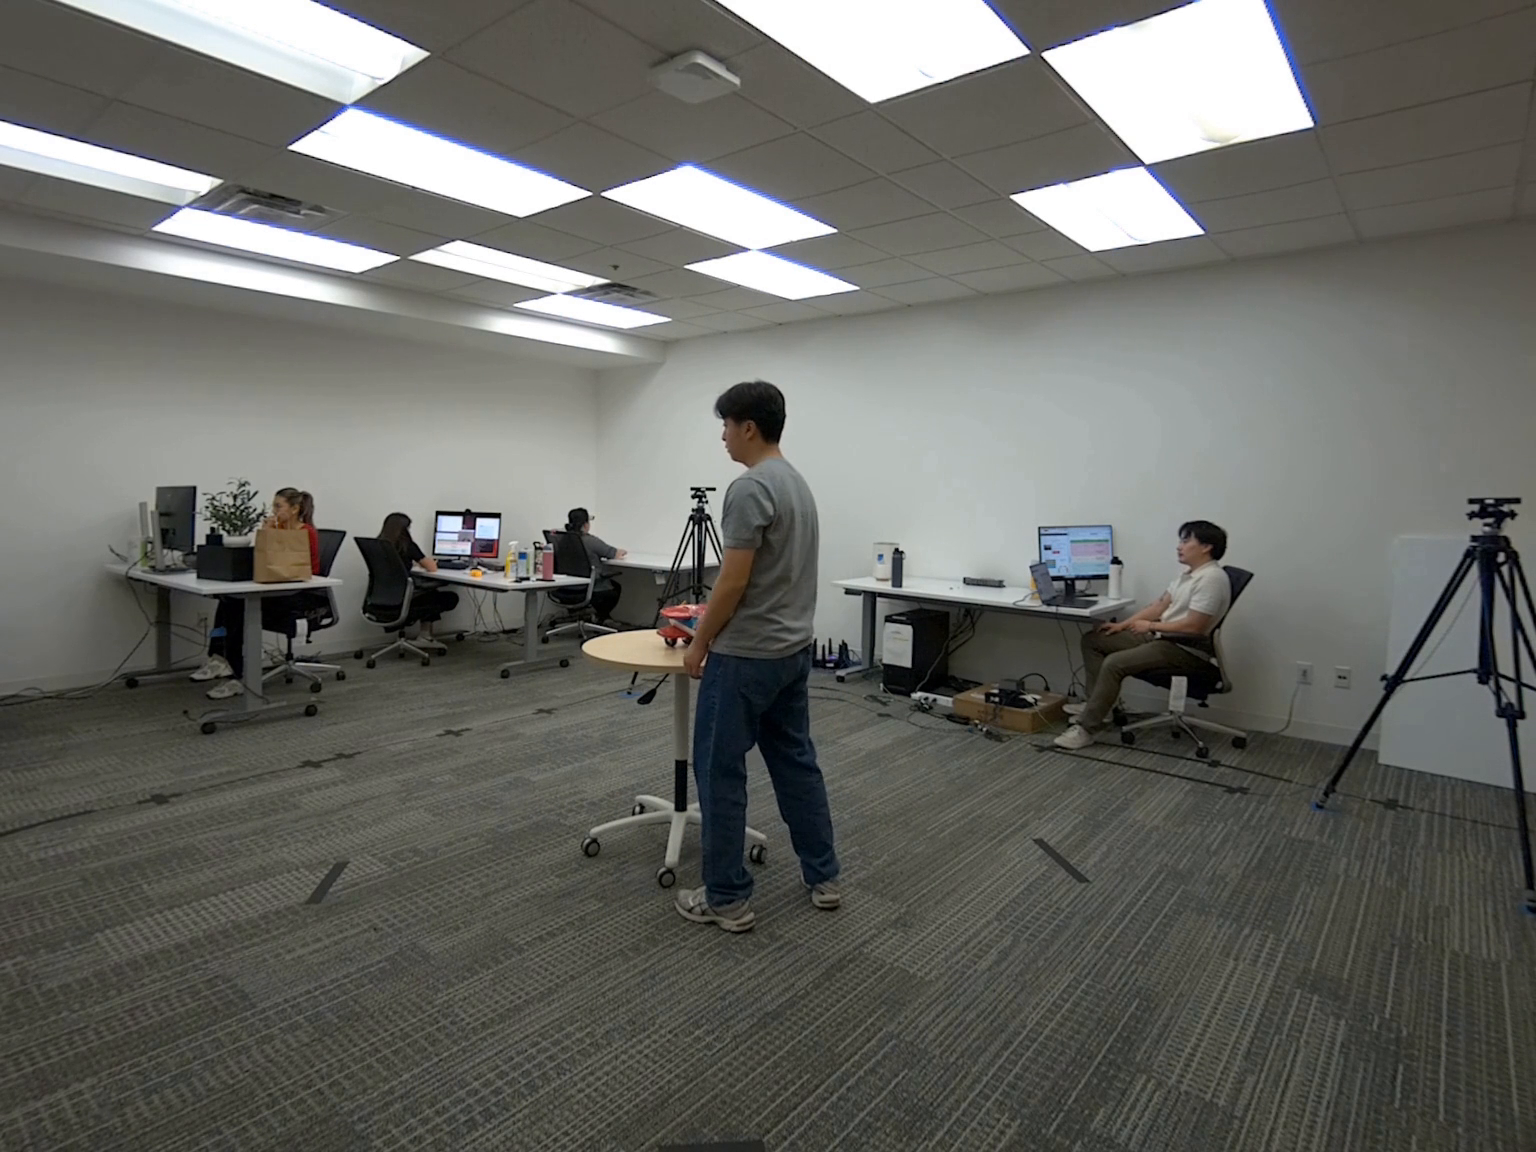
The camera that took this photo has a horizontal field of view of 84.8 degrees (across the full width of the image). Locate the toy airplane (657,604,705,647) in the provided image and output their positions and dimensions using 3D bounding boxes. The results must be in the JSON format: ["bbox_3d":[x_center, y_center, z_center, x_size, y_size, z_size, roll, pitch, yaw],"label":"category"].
[{"bbox_3d":[-0.284,0.187,3.218,0.265,0.156,0.247,2,5,19],"label":"toy airplane"}]
